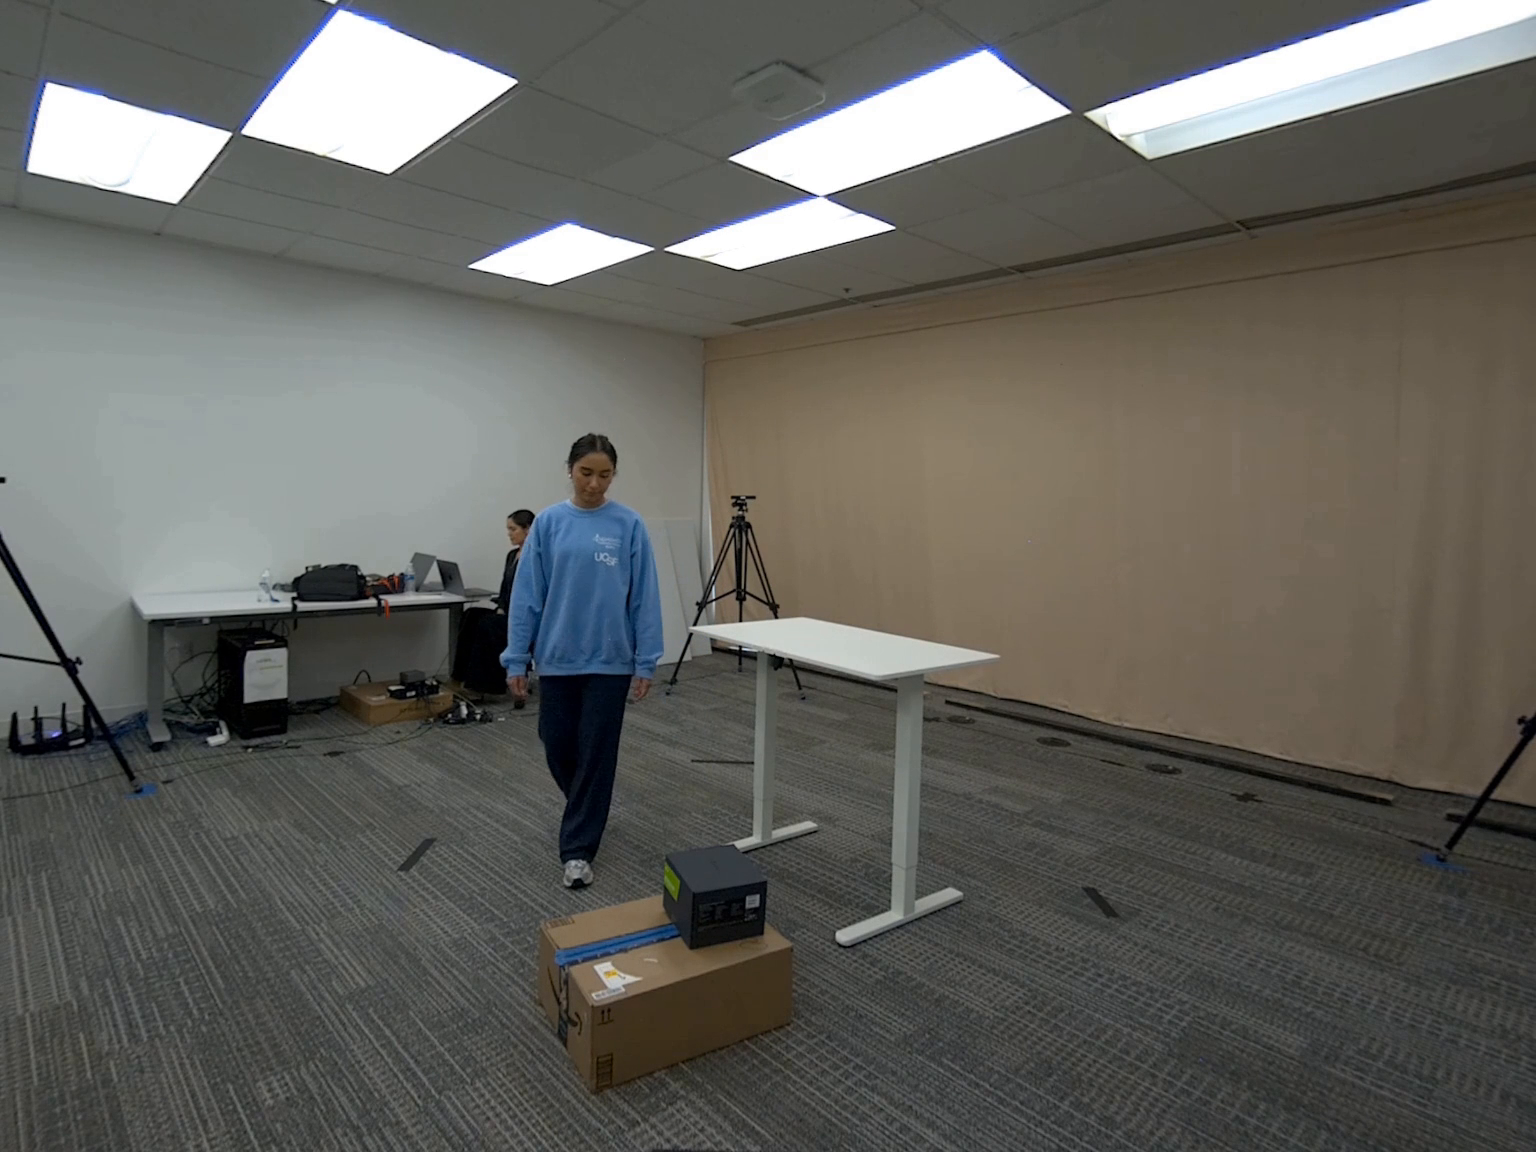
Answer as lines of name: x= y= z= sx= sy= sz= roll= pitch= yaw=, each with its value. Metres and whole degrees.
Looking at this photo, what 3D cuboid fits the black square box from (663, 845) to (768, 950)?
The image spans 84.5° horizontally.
black square box: x=-0.157 y=0.871 z=2.315 sx=0.213 sy=0.155 sz=0.233 roll=0 pitch=8 yaw=-24
